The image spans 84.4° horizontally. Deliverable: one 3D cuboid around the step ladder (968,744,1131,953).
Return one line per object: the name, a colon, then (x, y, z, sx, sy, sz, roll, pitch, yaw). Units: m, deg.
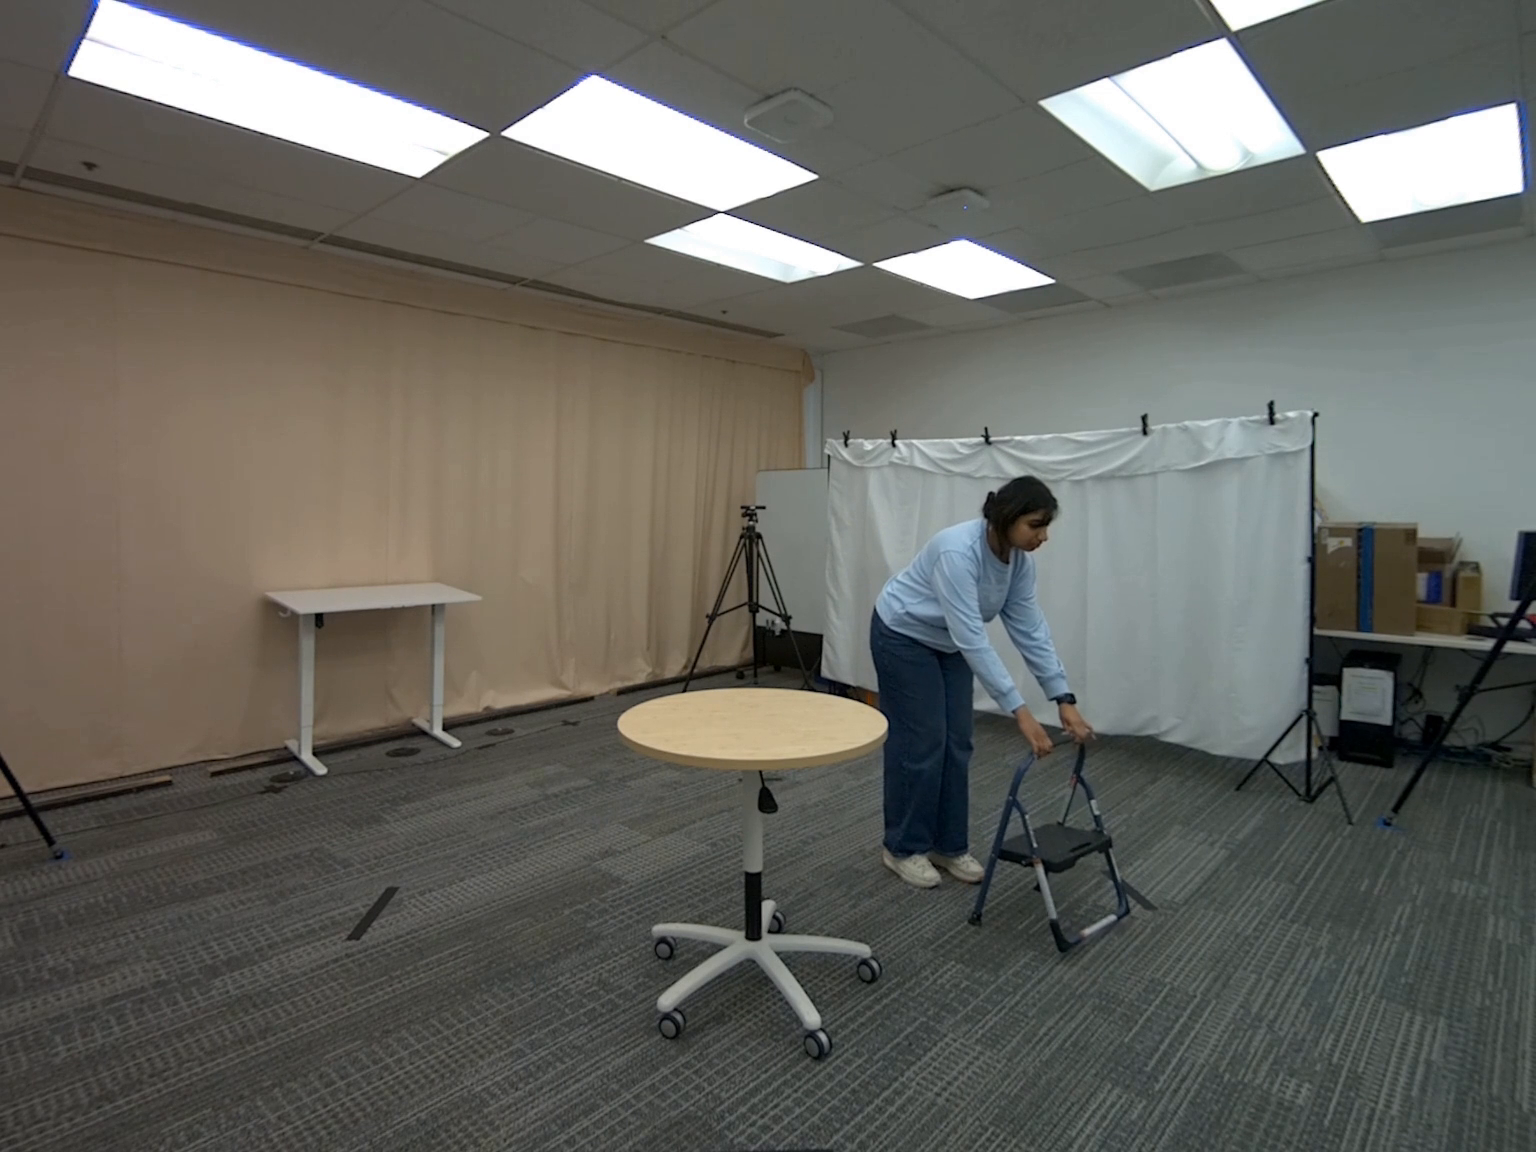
step ladder: (0.932, 0.841, 2.808, 0.417, 0.607, 0.360, -2, -2, -40)
